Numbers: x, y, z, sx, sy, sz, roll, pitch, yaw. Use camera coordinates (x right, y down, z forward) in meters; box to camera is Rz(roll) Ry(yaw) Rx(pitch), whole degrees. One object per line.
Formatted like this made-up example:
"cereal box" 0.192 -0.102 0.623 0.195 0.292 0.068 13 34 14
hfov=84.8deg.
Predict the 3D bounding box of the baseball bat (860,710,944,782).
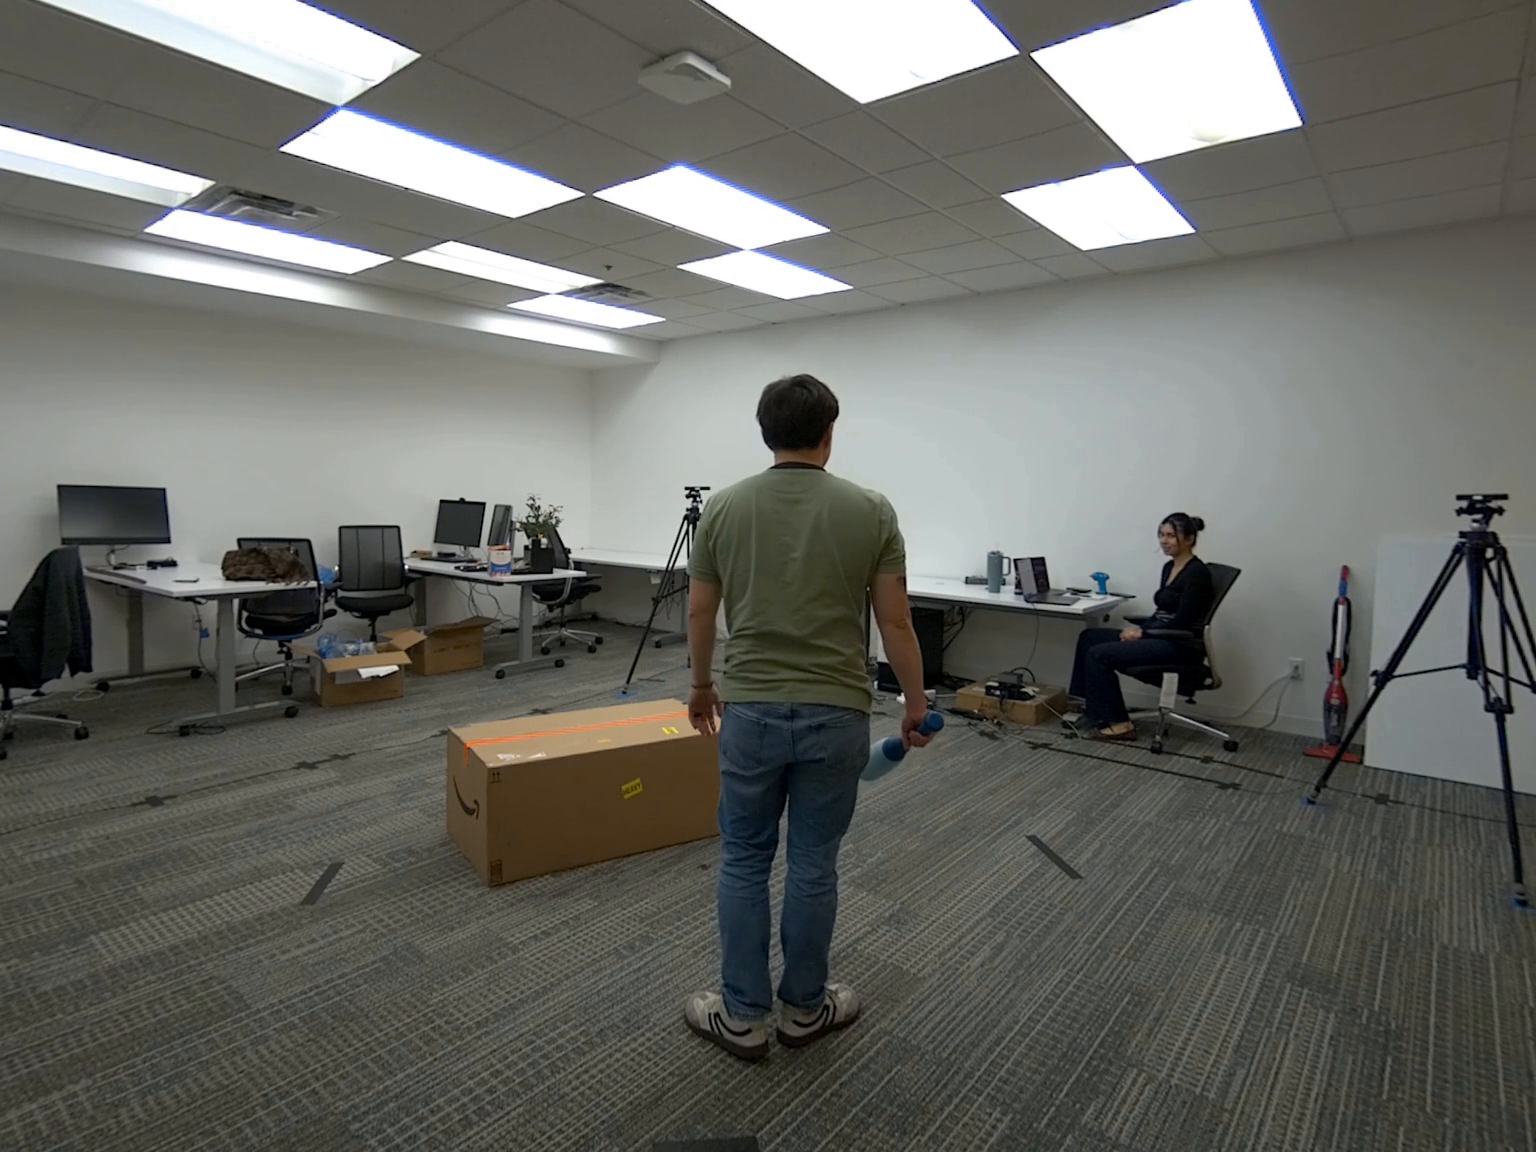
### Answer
"baseball bat" 0.330 0.462 2.295 0.088 0.091 0.536 1 -25 -12
